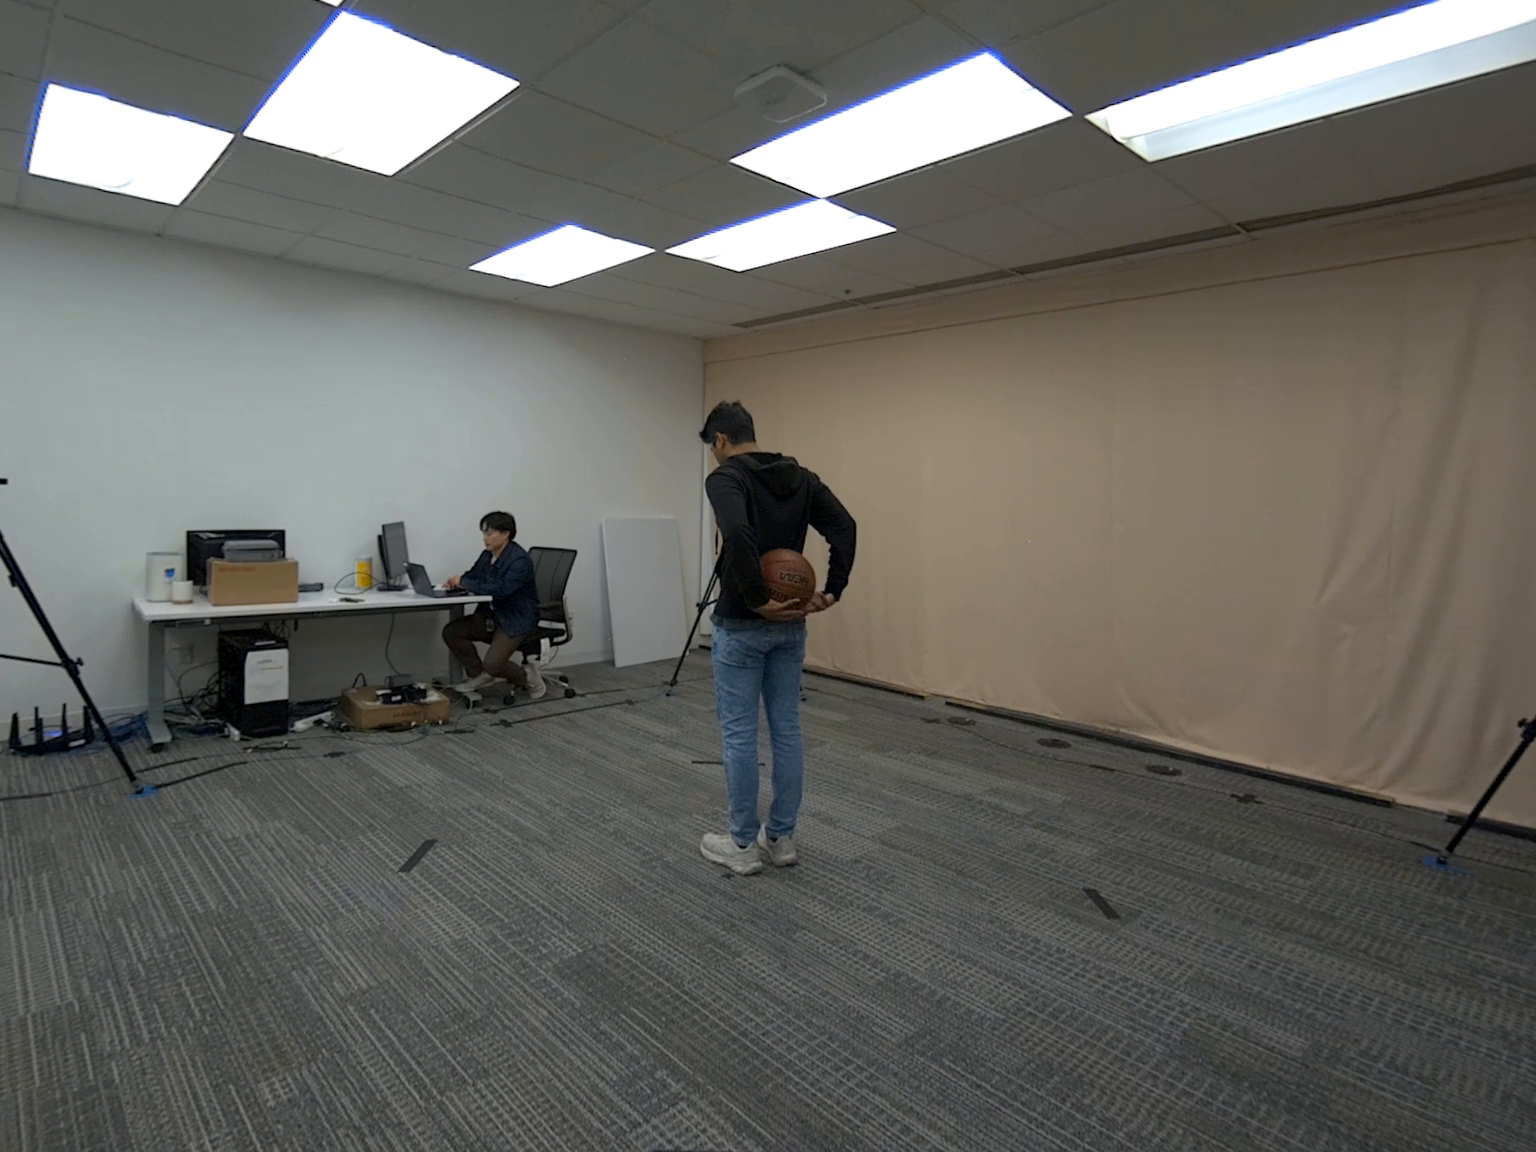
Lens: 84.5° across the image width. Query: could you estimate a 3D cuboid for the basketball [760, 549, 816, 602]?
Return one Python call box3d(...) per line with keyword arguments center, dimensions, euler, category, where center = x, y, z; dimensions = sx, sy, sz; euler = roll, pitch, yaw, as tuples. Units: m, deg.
box3d(center=(0.047, 0.016, 3.011), dimensions=(0.236, 0.235, 0.237), euler=(1, 4, -1), category="basketball")
